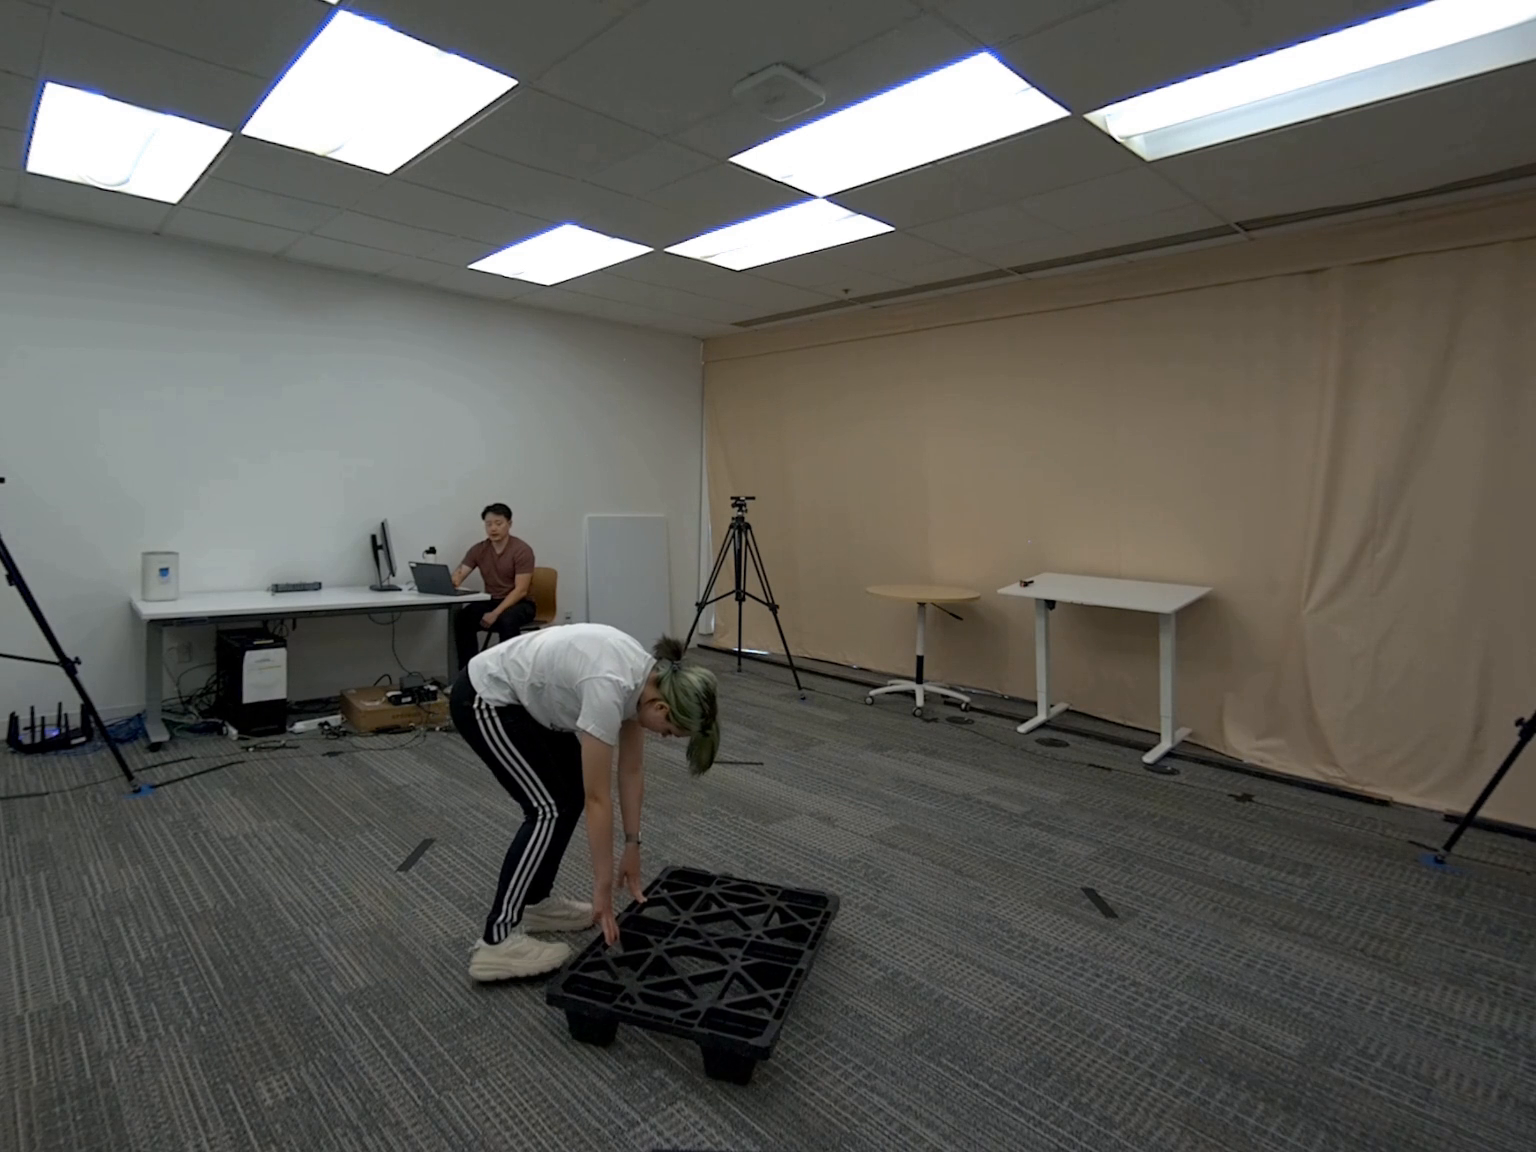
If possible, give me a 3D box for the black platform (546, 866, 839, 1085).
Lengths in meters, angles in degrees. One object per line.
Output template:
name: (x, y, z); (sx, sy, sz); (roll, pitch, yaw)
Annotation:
black platform: (-0.181, 1.098, 2.403); (0.614, 0.143, 0.796); (3, 5, 17)
